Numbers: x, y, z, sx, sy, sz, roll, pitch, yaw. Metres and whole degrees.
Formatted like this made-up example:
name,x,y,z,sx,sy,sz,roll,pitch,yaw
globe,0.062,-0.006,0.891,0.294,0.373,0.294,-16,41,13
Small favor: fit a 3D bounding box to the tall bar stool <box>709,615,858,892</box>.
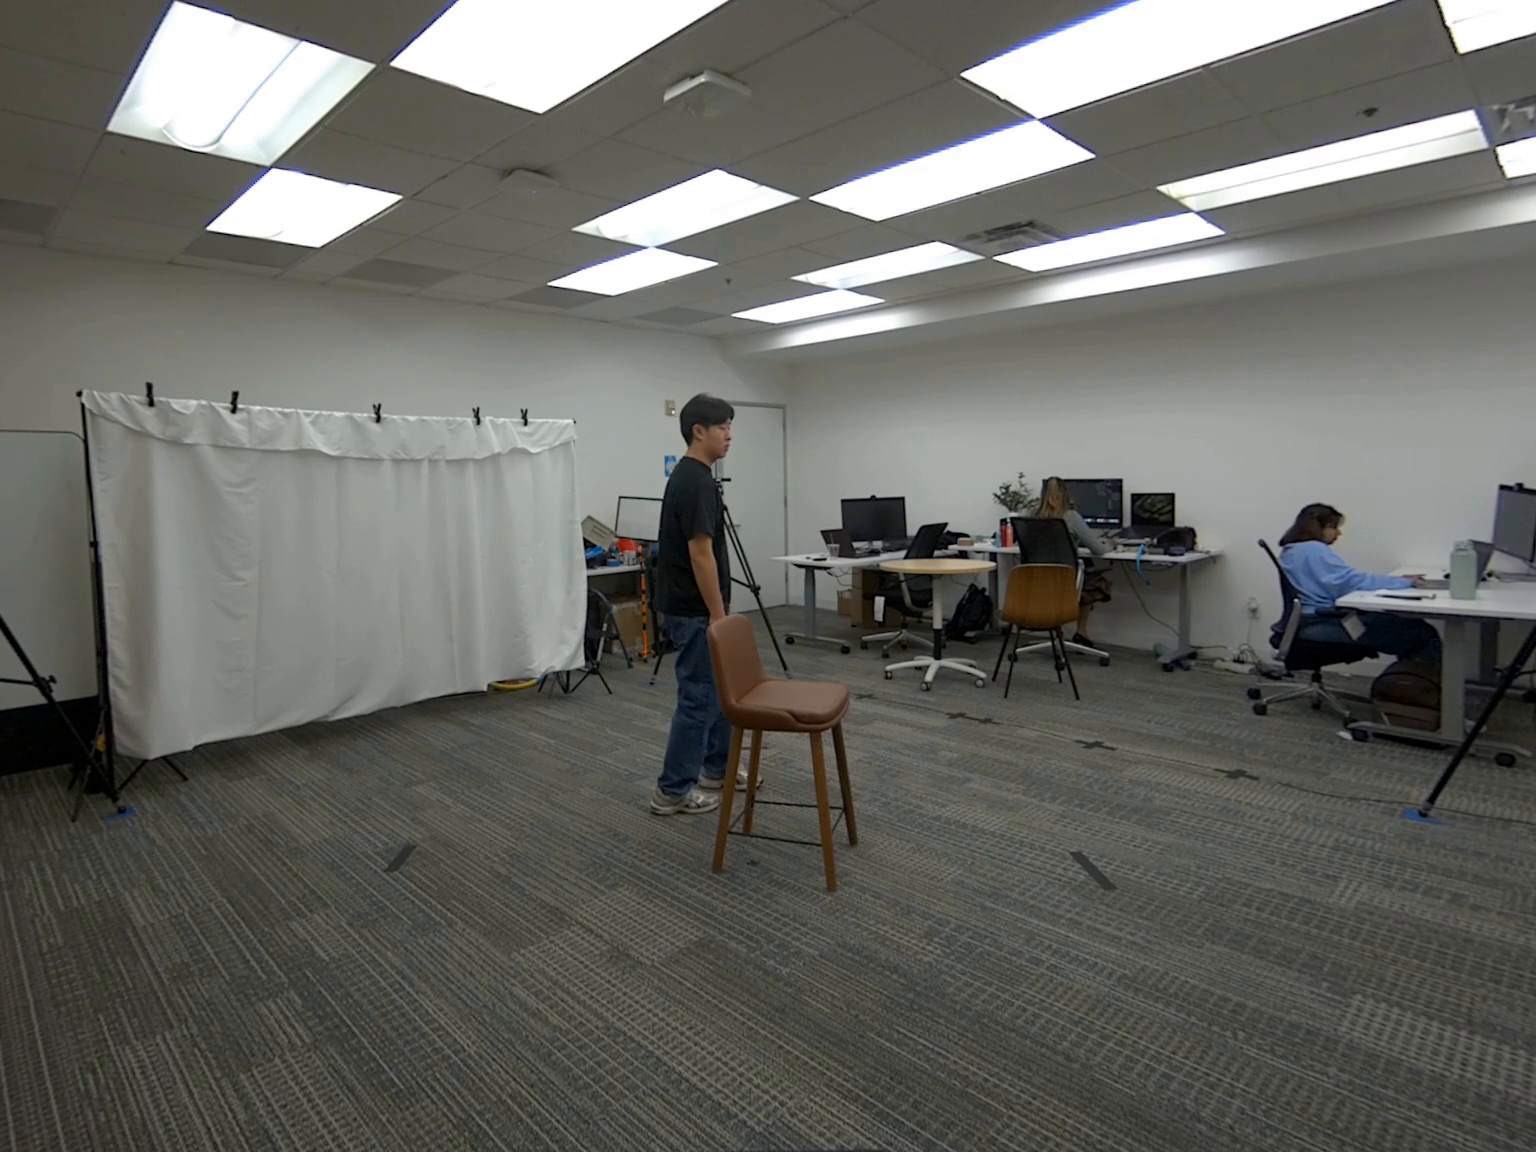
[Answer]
name,x,y,z,sx,sy,sz,roll,pitch,yaw
tall bar stool,0.060,0.606,3.118,0.476,0.887,0.449,-1,3,20
